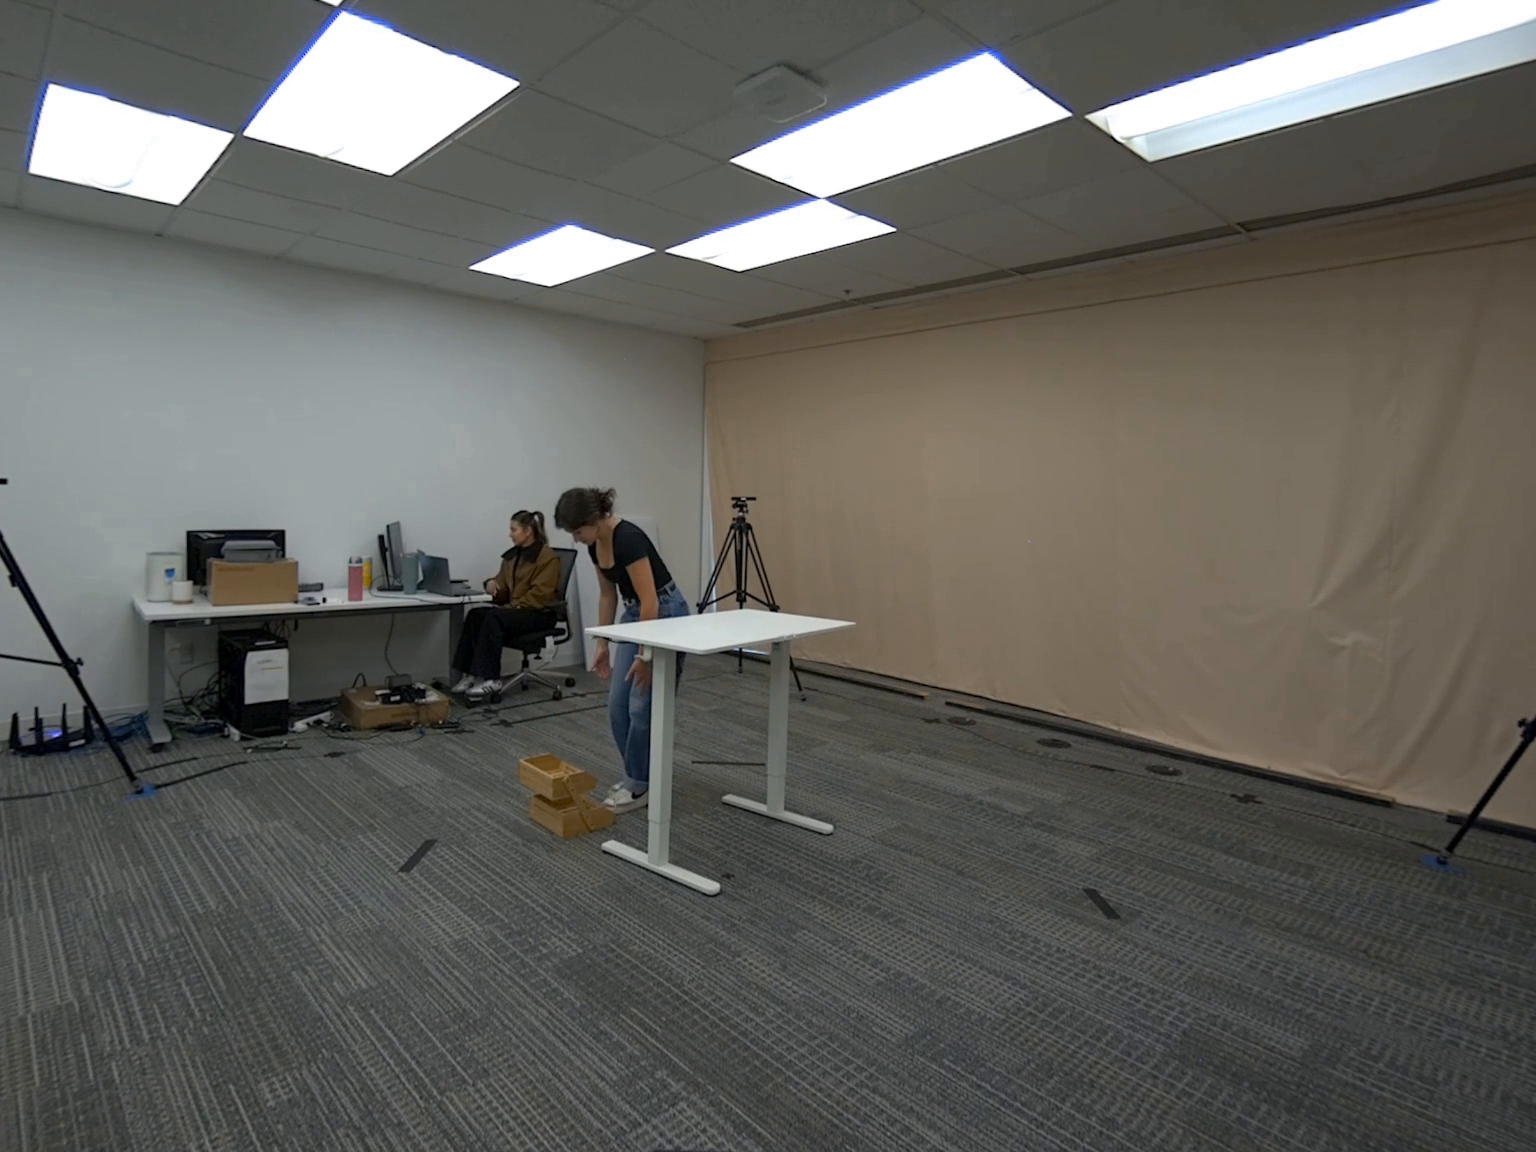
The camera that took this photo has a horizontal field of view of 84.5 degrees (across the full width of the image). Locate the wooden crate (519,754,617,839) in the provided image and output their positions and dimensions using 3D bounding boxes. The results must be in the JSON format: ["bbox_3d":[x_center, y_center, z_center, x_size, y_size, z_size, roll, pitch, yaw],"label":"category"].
[{"bbox_3d":[-0.866,0.916,3.578,0.295,0.272,0.333,-3,6,-42],"label":"wooden crate"}]
